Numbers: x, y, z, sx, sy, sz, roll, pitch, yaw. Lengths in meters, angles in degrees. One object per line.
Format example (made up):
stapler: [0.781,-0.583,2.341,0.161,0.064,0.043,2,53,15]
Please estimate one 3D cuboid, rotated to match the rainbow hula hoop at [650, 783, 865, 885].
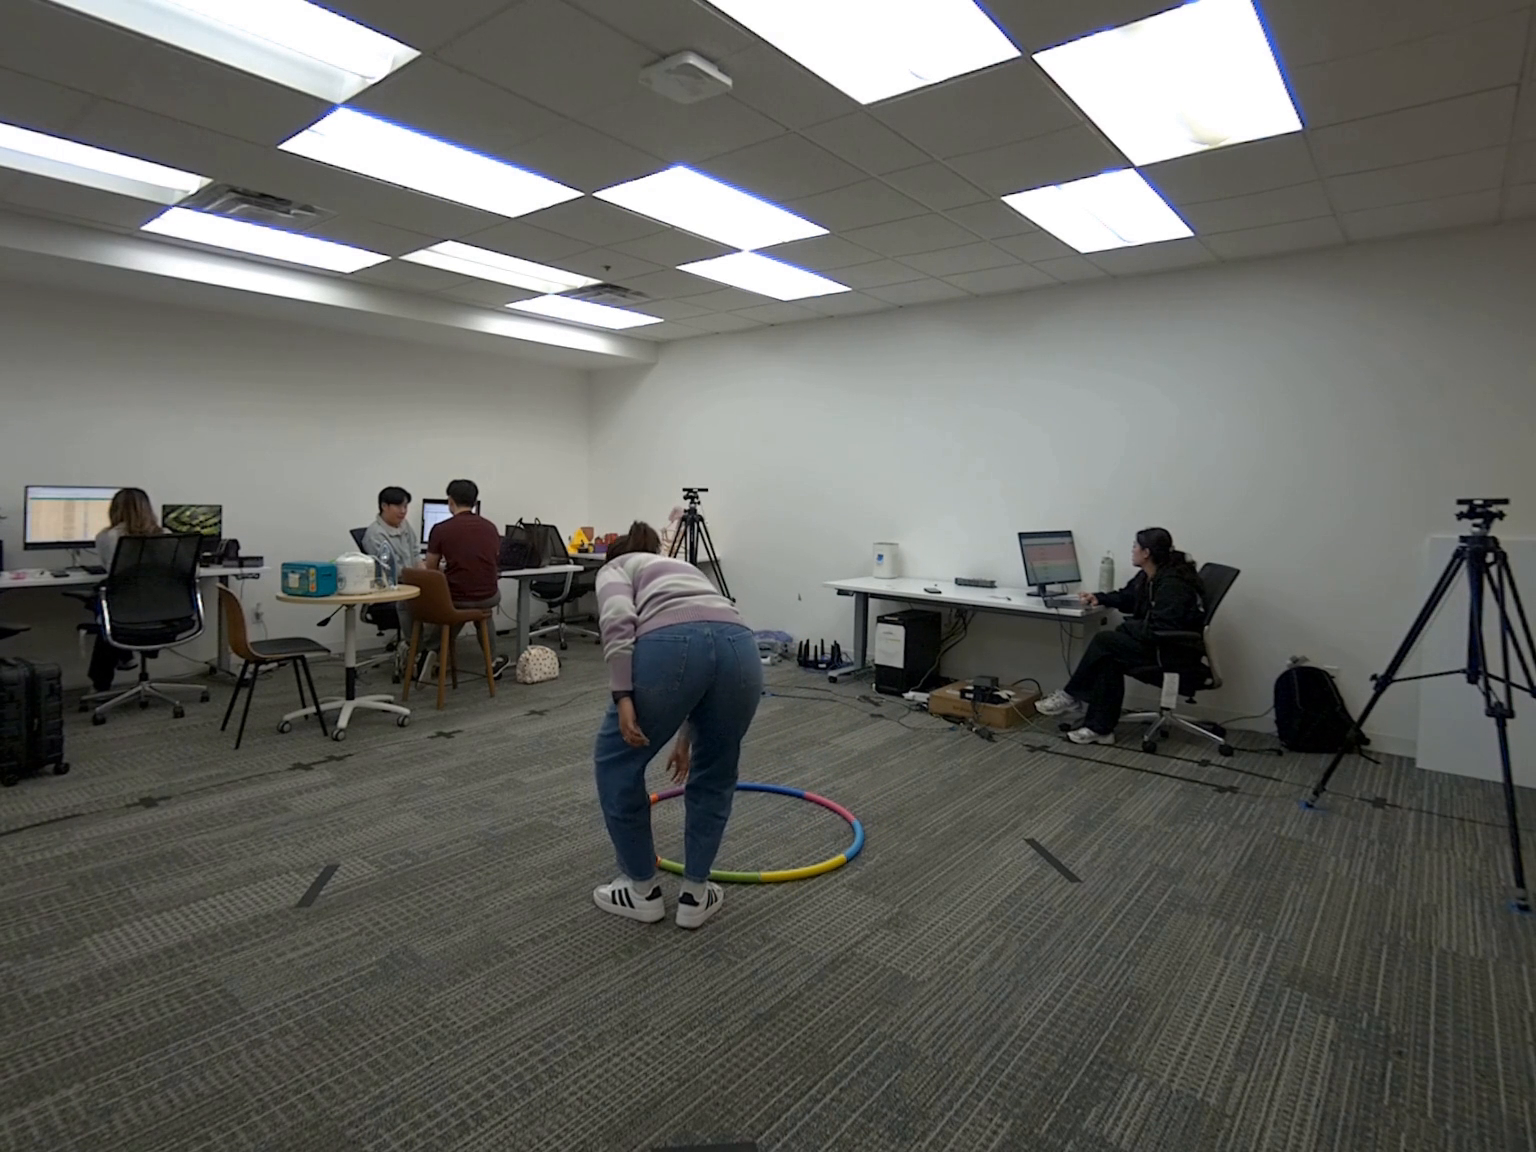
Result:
rainbow hula hoop: [-0.117,1.007,3.475,0.978,0.035,0.983,1,5,-2]
